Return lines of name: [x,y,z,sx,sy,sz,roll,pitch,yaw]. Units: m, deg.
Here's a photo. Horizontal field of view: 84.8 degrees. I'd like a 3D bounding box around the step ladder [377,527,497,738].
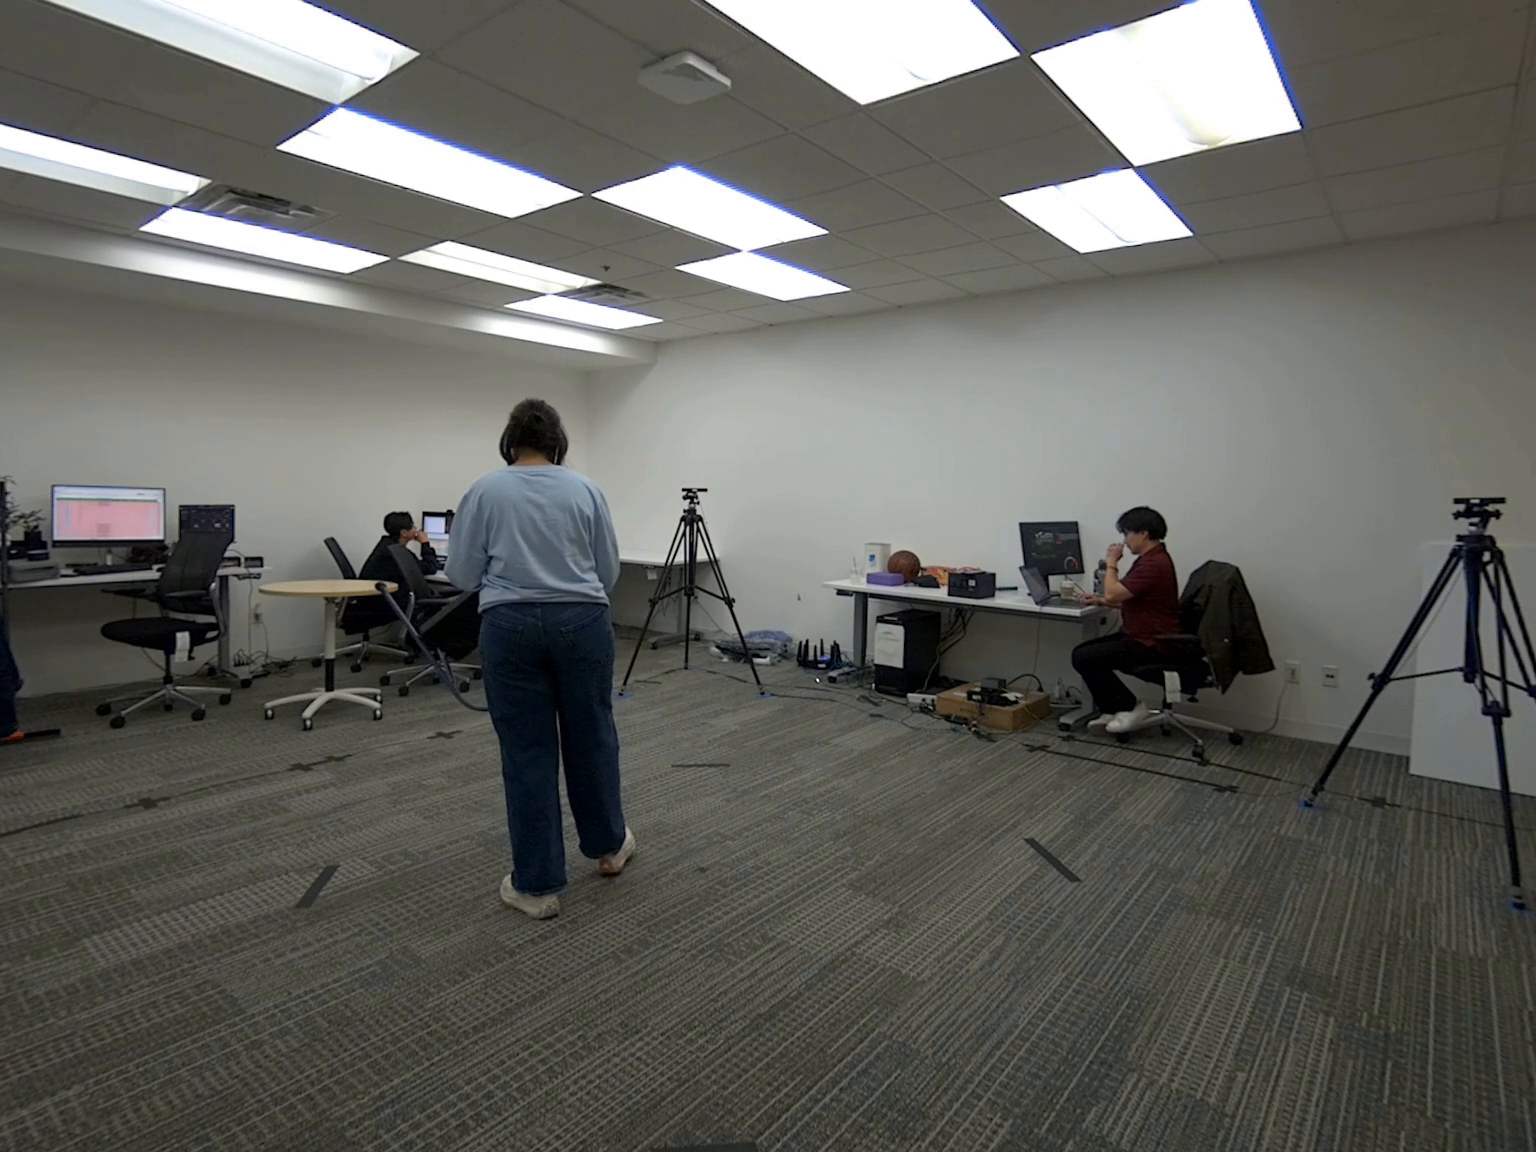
step ladder: [-1.037,0.167,3.050,0.631,0.430,0.336,46,-7,35]
